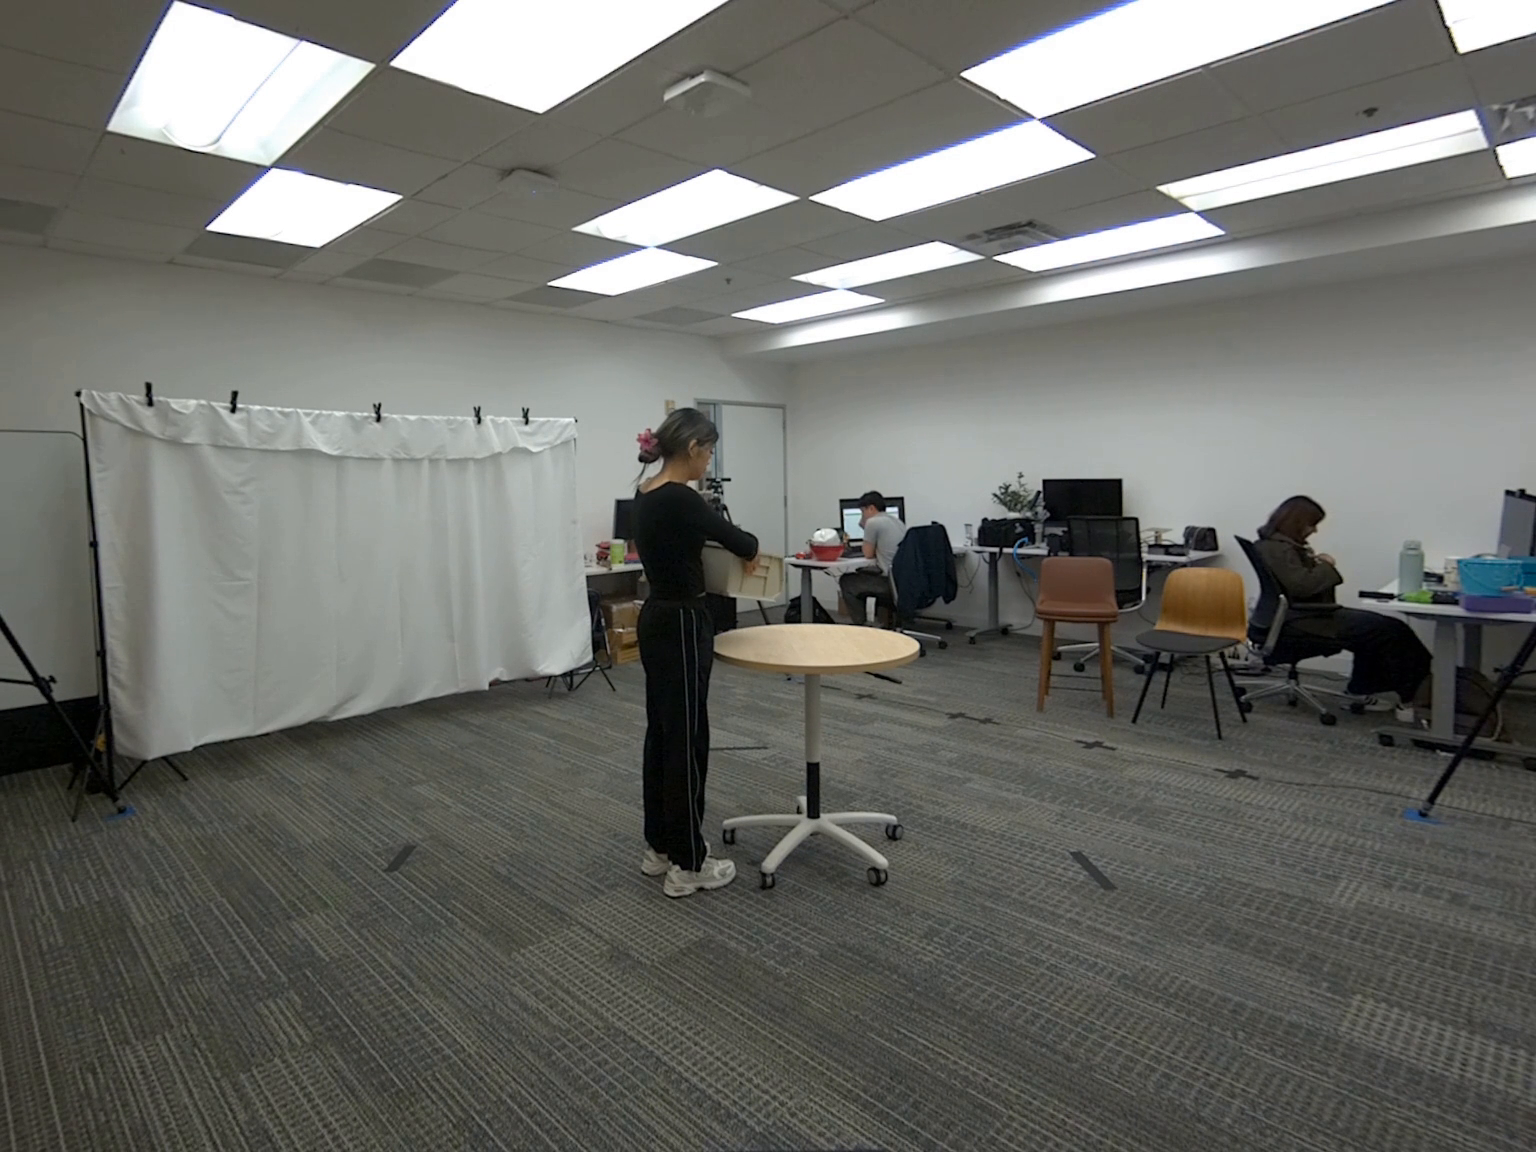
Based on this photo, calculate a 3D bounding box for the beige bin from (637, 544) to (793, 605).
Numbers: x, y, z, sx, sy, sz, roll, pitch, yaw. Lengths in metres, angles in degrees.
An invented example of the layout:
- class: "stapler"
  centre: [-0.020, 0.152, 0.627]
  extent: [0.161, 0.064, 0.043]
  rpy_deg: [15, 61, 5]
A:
- class: "beige bin"
  centre: [-0.197, -0.026, 3.206]
  extent: [0.435, 0.189, 0.366]
  rpy_deg: [8, -1, 33]
